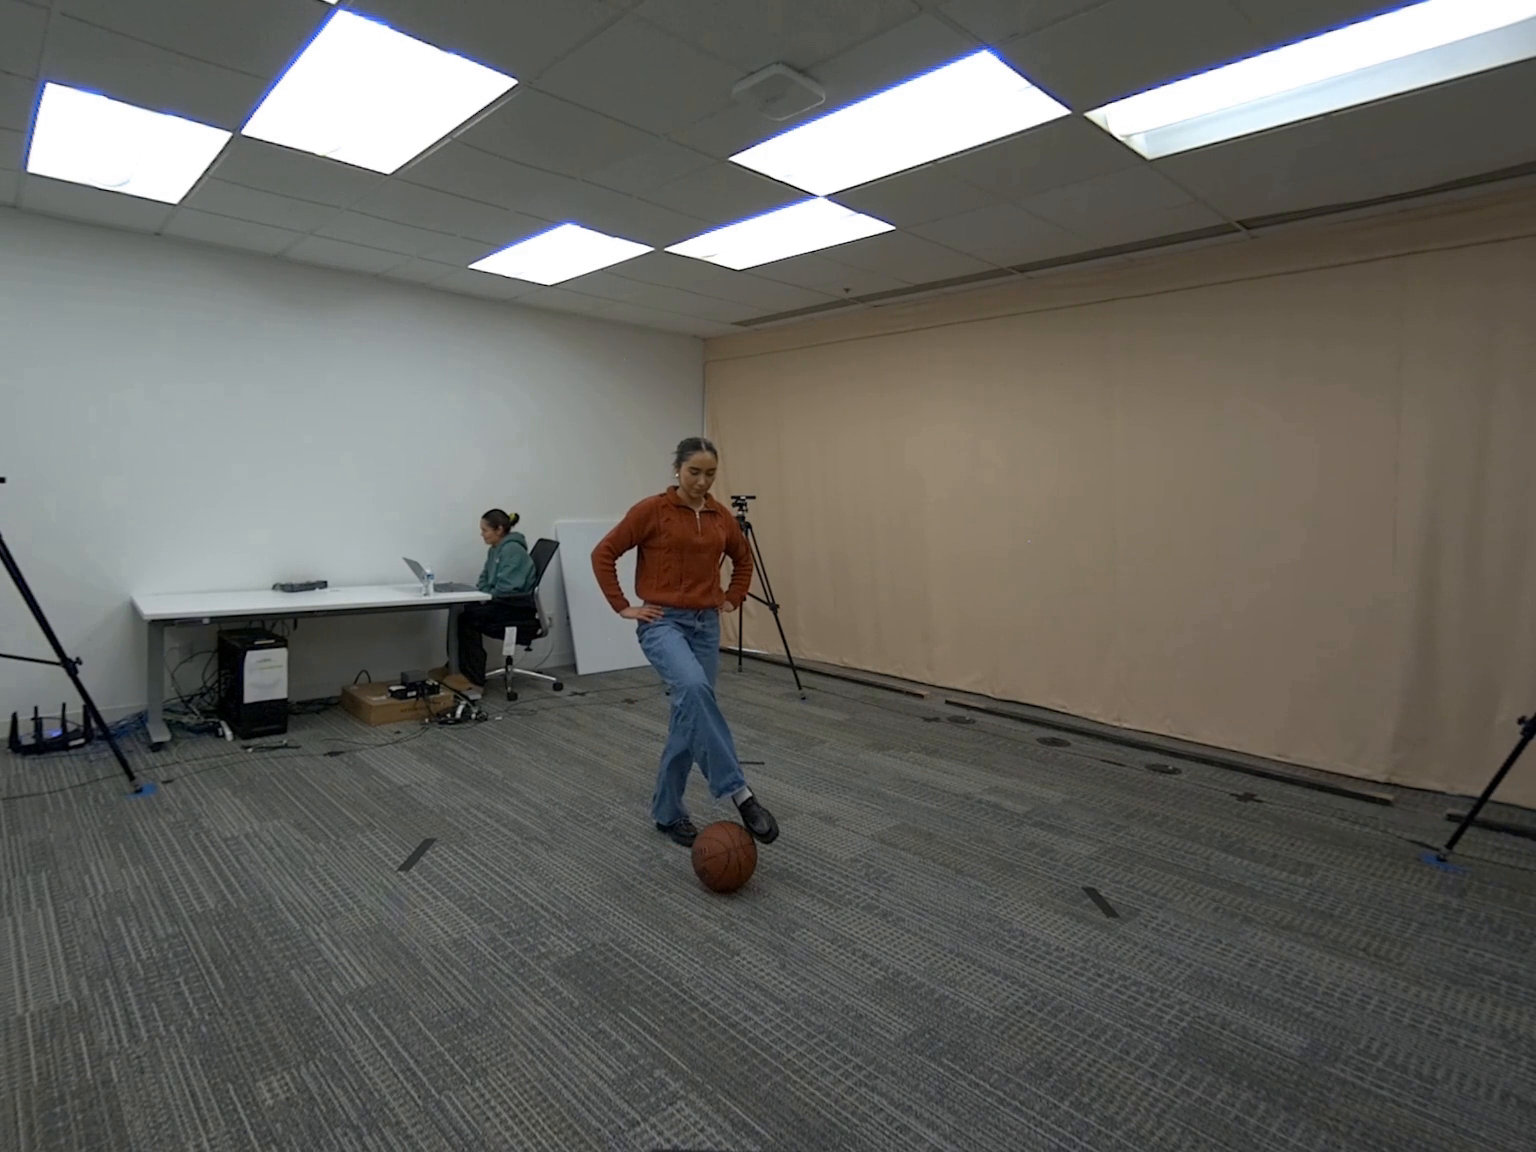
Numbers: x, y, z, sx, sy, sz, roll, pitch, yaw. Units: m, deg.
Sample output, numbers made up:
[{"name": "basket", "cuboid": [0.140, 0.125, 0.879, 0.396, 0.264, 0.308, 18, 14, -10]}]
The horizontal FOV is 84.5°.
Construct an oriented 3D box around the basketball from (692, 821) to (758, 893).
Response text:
[{"name": "basketball", "cuboid": [-0.170, 0.993, 2.993, 0.236, 0.235, 0.237, 1, 4, -1]}]
